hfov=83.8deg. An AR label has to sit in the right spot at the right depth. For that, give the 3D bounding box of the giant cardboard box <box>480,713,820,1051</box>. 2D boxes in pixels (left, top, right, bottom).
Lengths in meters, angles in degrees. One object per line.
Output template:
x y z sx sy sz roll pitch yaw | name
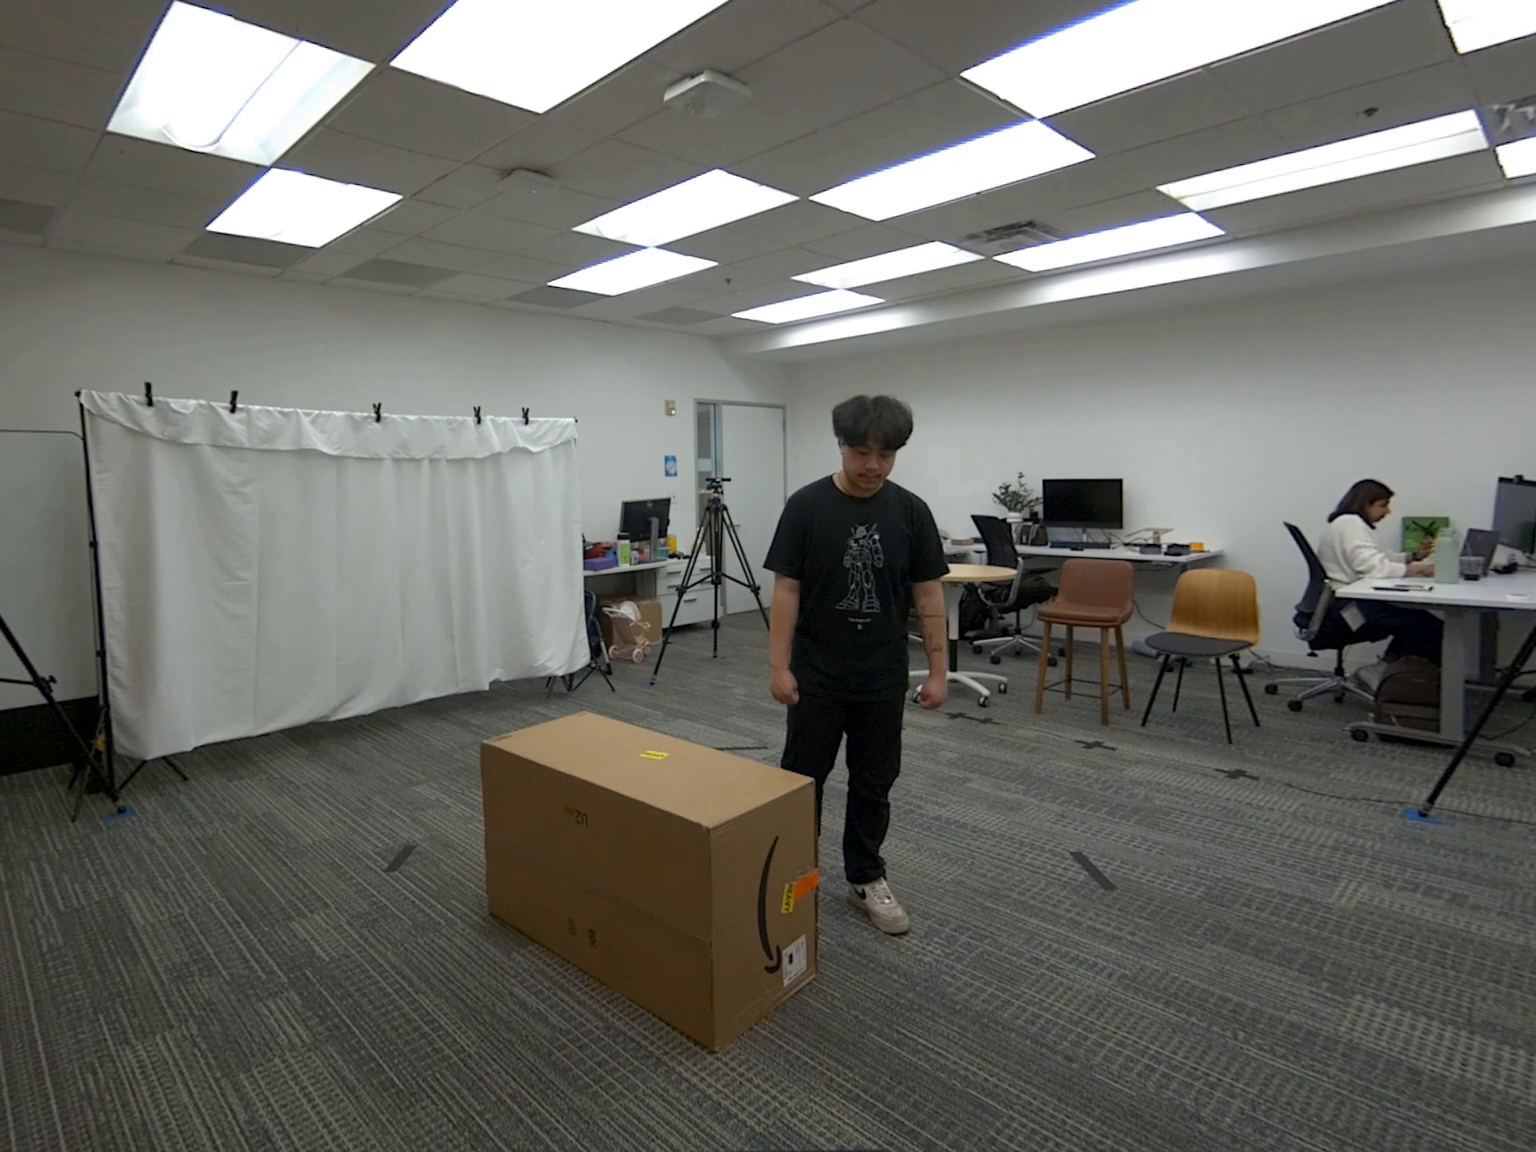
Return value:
-0.389 0.827 2.562 1.059 0.581 0.435 5 7 41 | giant cardboard box
